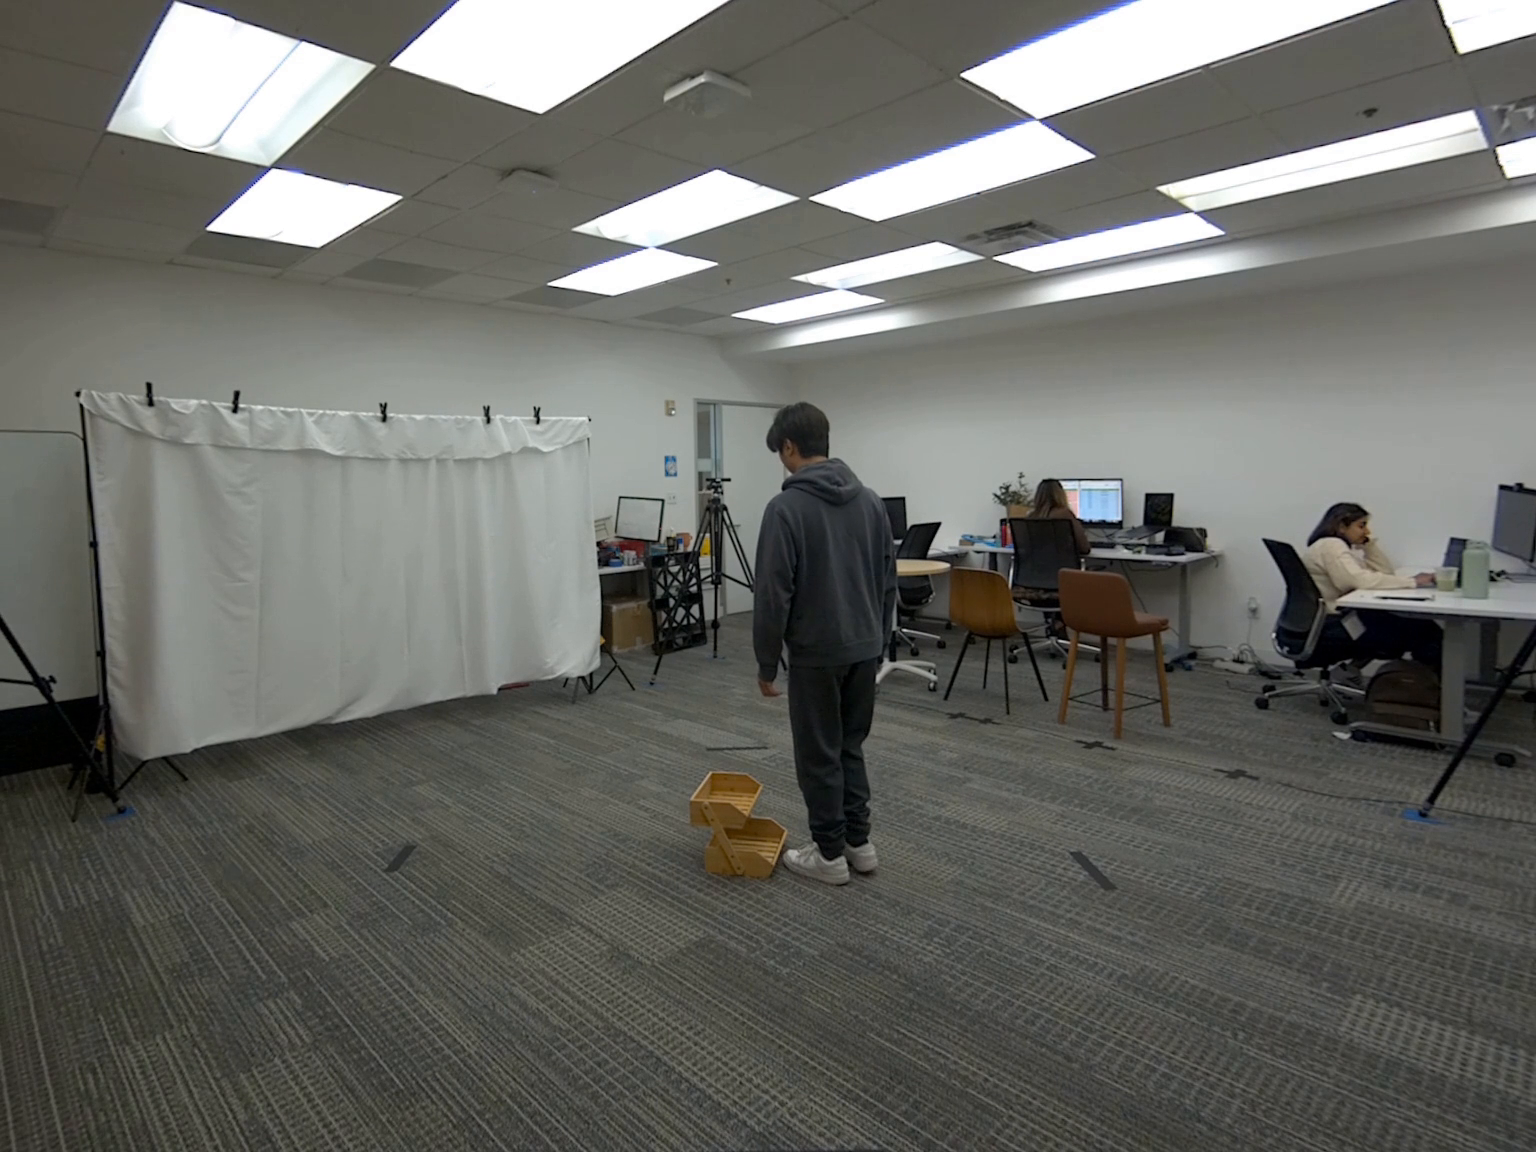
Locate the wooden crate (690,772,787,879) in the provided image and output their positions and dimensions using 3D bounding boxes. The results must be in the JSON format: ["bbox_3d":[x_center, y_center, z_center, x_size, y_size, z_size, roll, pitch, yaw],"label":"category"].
[{"bbox_3d":[-0.088,0.904,3.153,0.306,0.272,0.322,0,5,11],"label":"wooden crate"}]
